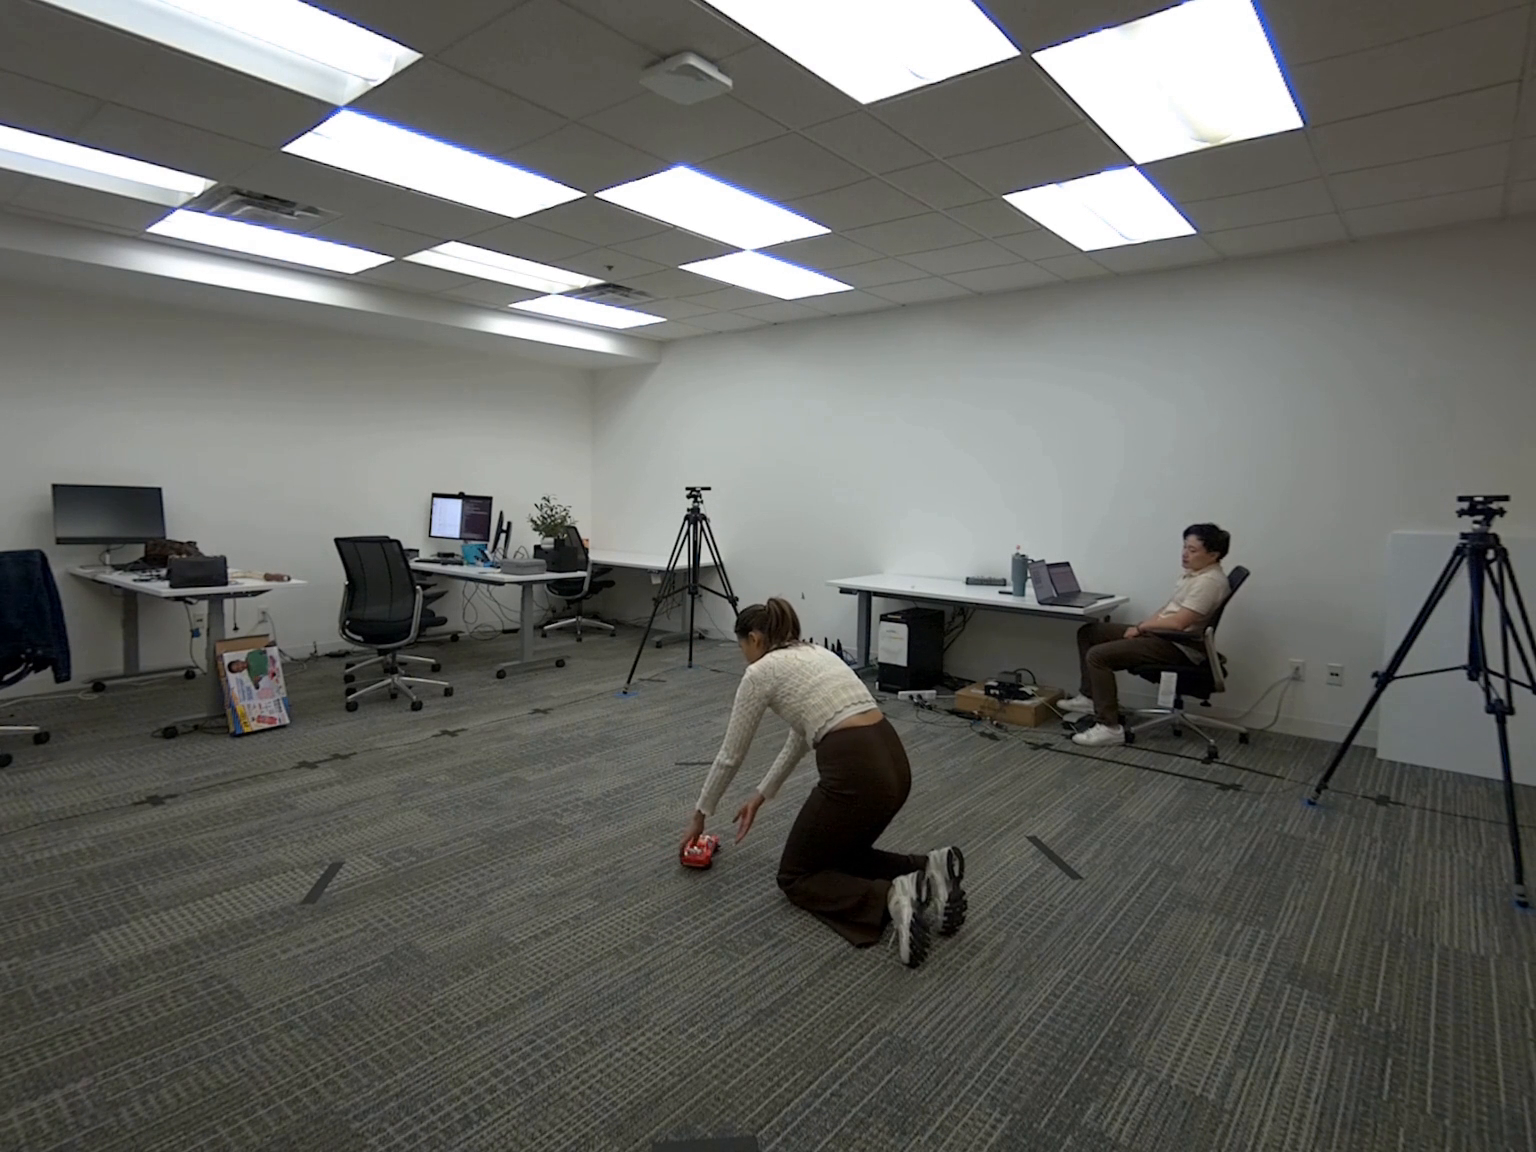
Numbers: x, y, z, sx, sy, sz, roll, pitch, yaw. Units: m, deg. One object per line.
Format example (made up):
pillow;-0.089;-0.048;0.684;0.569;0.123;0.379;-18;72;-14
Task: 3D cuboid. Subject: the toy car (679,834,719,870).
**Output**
toy car;-0.263;1.027;3.179;0.131;0.084;0.250;1;-6;7
